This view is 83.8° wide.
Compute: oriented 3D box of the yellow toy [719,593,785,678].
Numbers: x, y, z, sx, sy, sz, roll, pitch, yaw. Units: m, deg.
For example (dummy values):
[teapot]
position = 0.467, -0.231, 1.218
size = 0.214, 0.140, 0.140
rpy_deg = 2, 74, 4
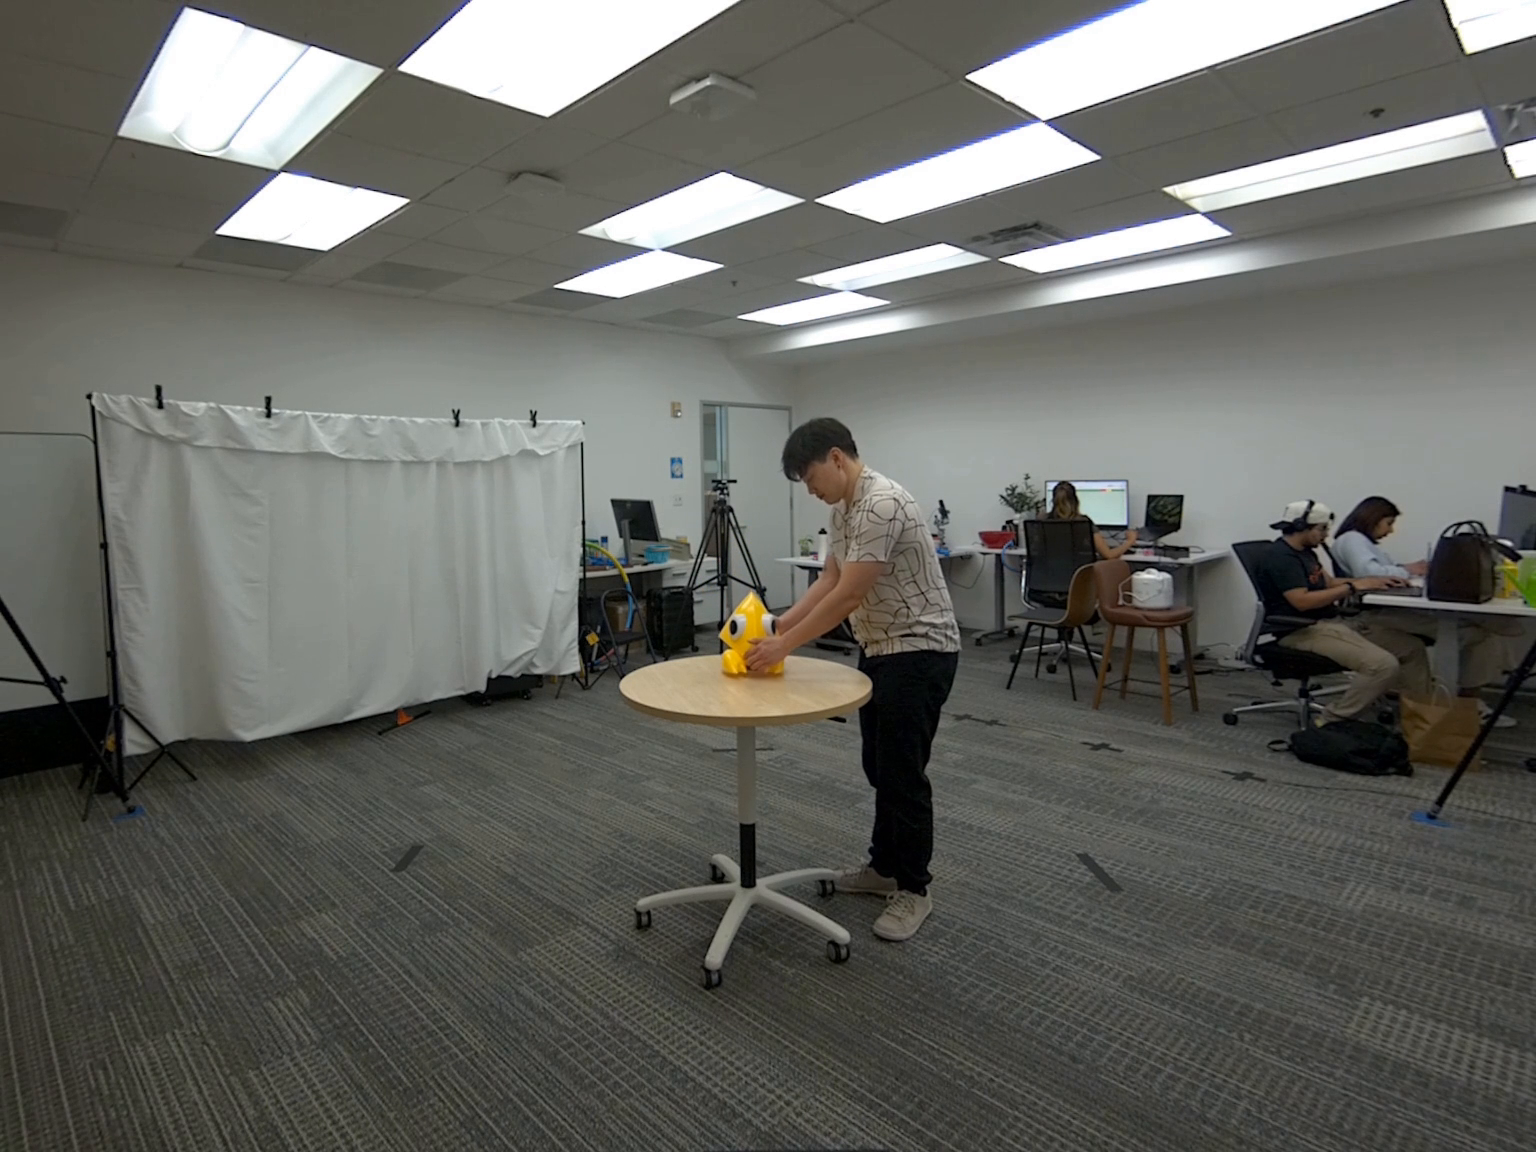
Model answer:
[yellow toy]
position = -0.041, 0.174, 2.710
size = 0.204, 0.229, 0.195
rpy_deg = 1, 8, -5
